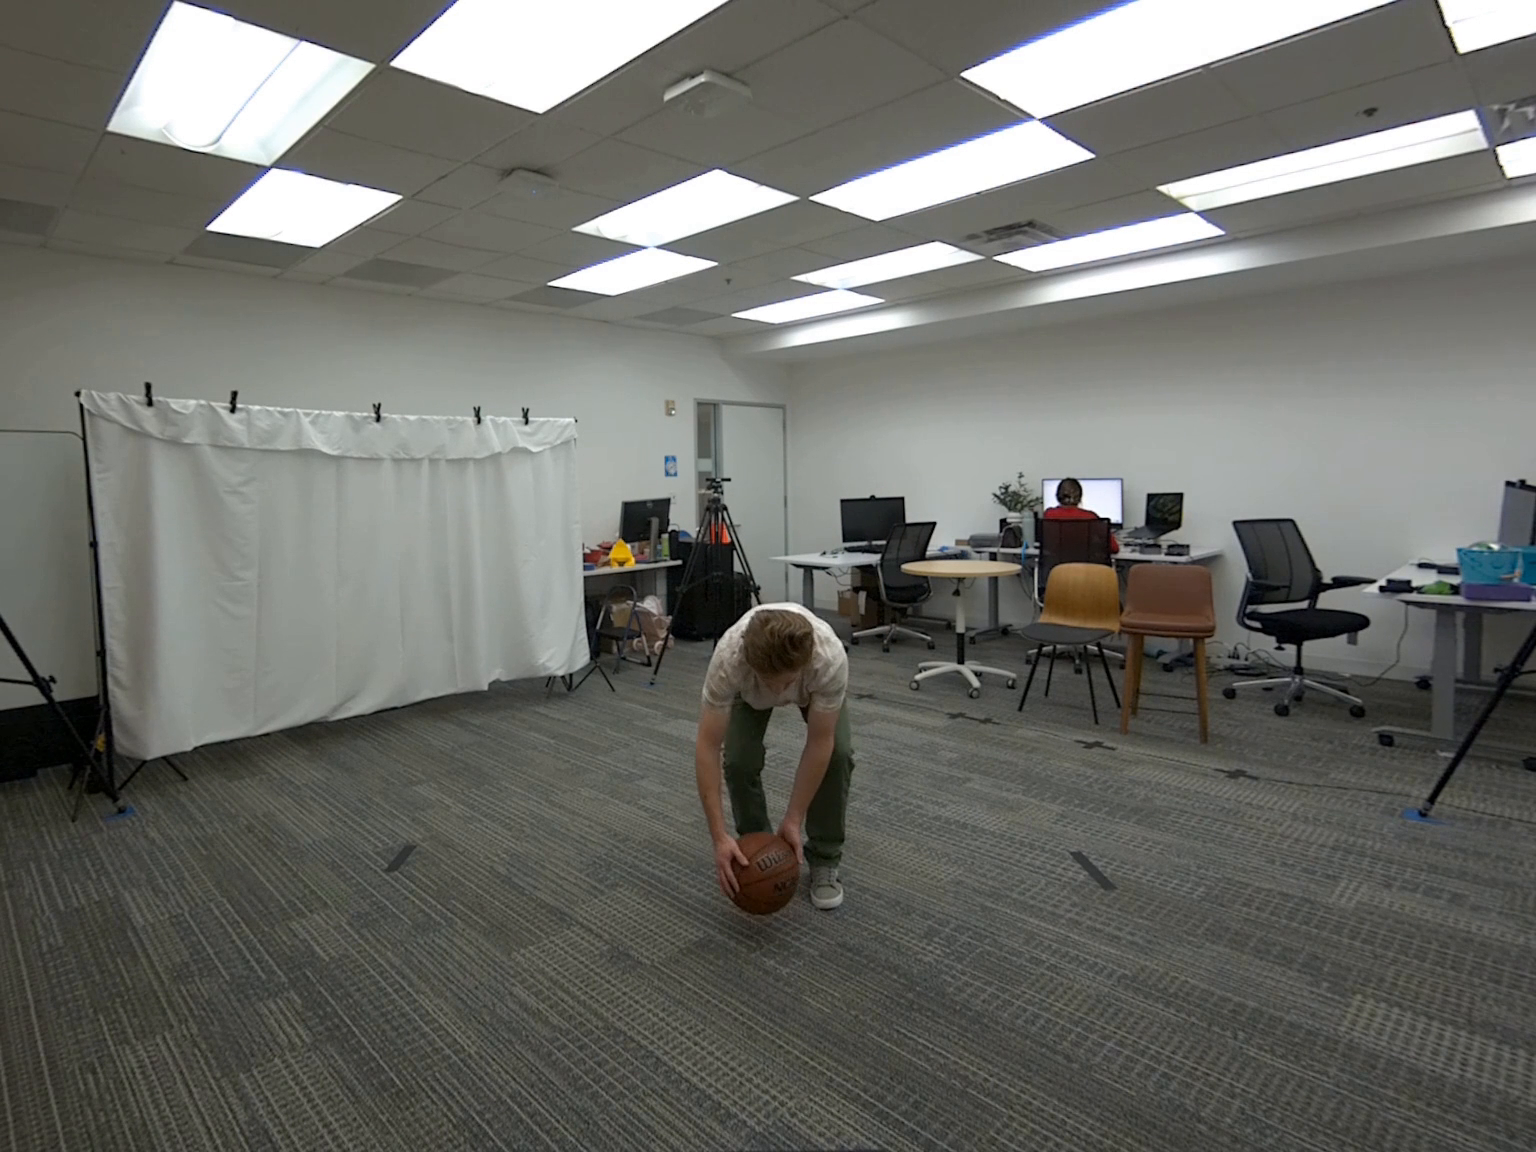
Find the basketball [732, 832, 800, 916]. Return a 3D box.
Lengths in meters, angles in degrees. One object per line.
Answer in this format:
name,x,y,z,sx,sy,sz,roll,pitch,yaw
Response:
basketball,-0.023,0.909,2.618,0.236,0.235,0.237,-1,5,-2
